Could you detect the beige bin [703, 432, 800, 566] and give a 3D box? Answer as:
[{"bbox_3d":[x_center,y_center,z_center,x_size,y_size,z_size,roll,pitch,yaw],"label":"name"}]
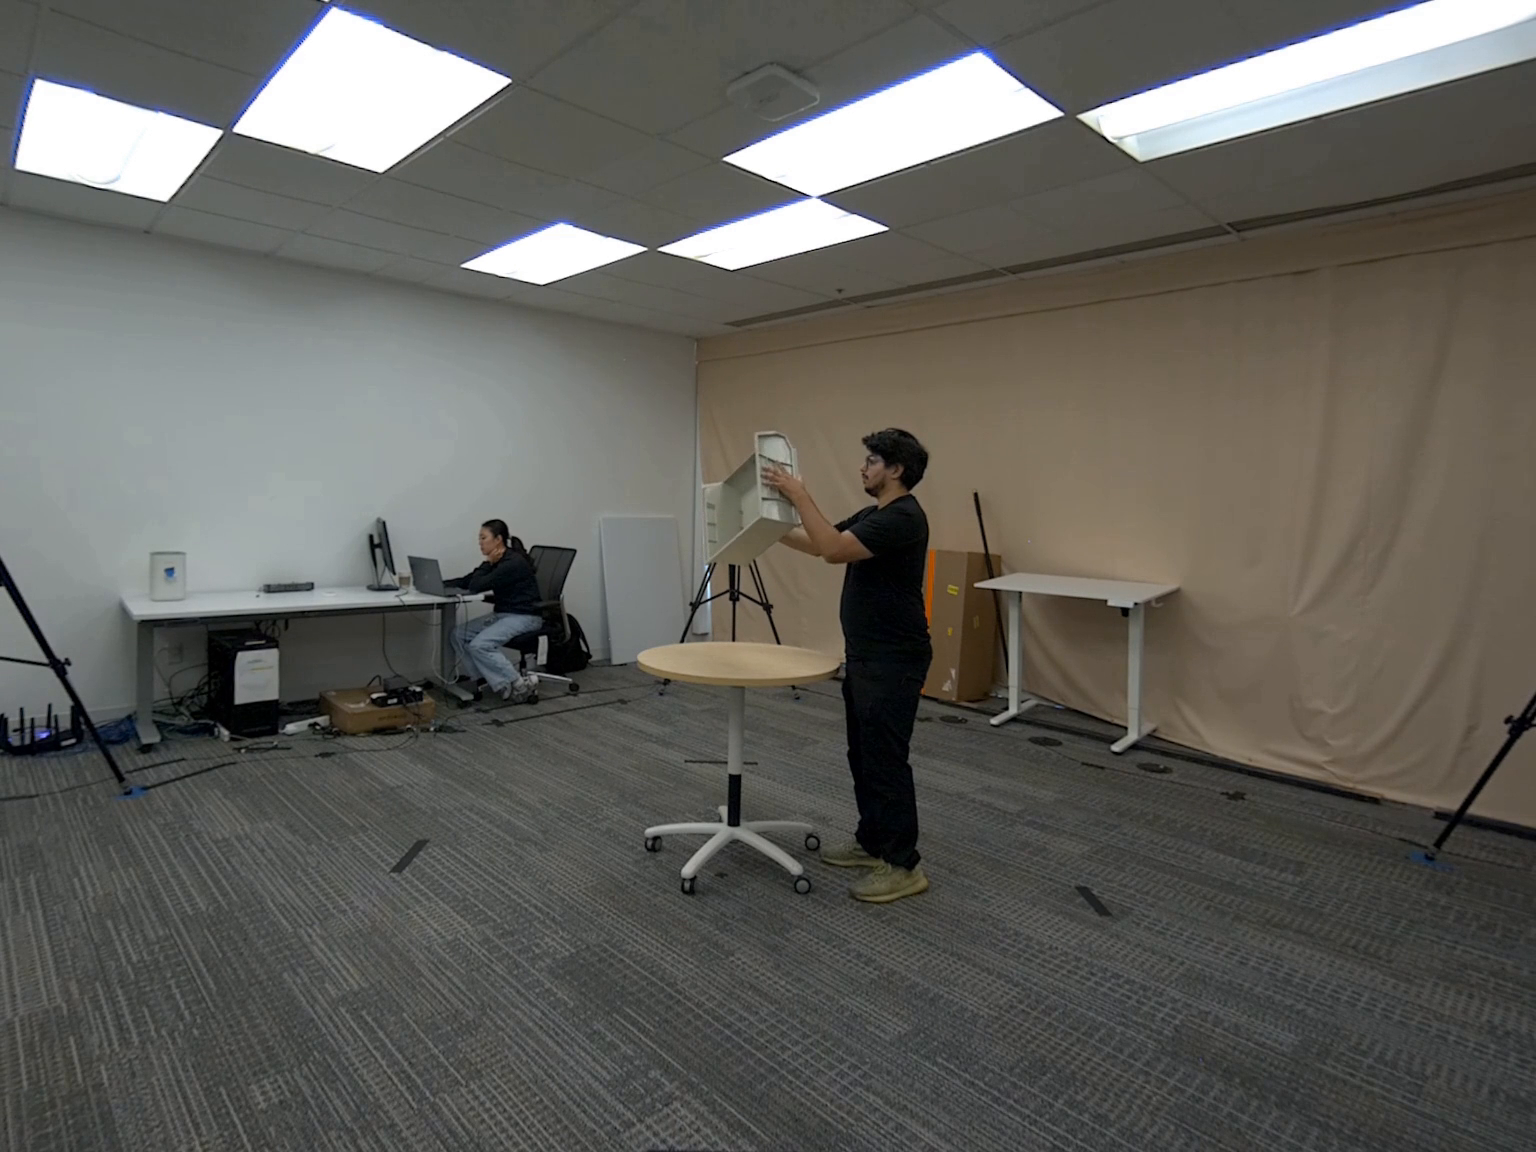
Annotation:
[{"bbox_3d":[-0.076,-0.280,3.173,0.184,0.384,0.425,11,-28,-30],"label":"beige bin"}]
